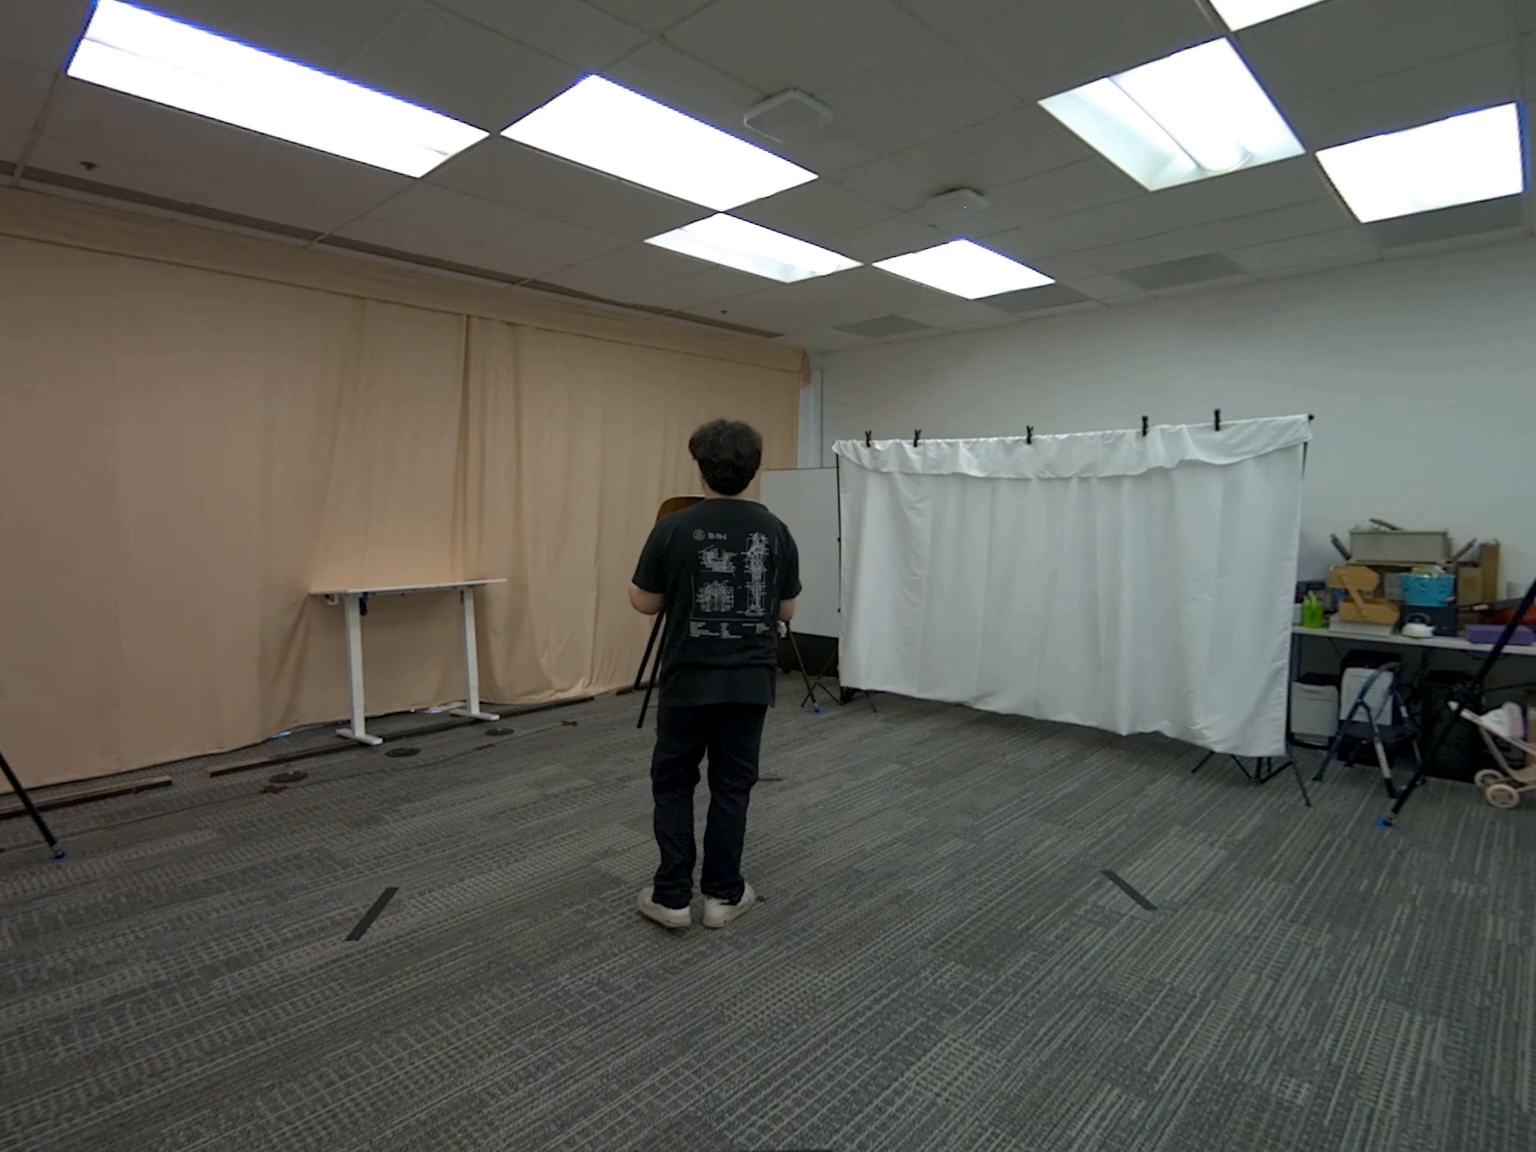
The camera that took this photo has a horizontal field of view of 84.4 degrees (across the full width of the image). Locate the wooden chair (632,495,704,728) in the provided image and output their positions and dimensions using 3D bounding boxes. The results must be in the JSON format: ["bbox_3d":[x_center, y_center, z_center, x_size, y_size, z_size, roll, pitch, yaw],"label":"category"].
[{"bbox_3d":[-0.284,0.098,3.176,0.473,0.872,0.532,2,12,-10],"label":"wooden chair"}]
